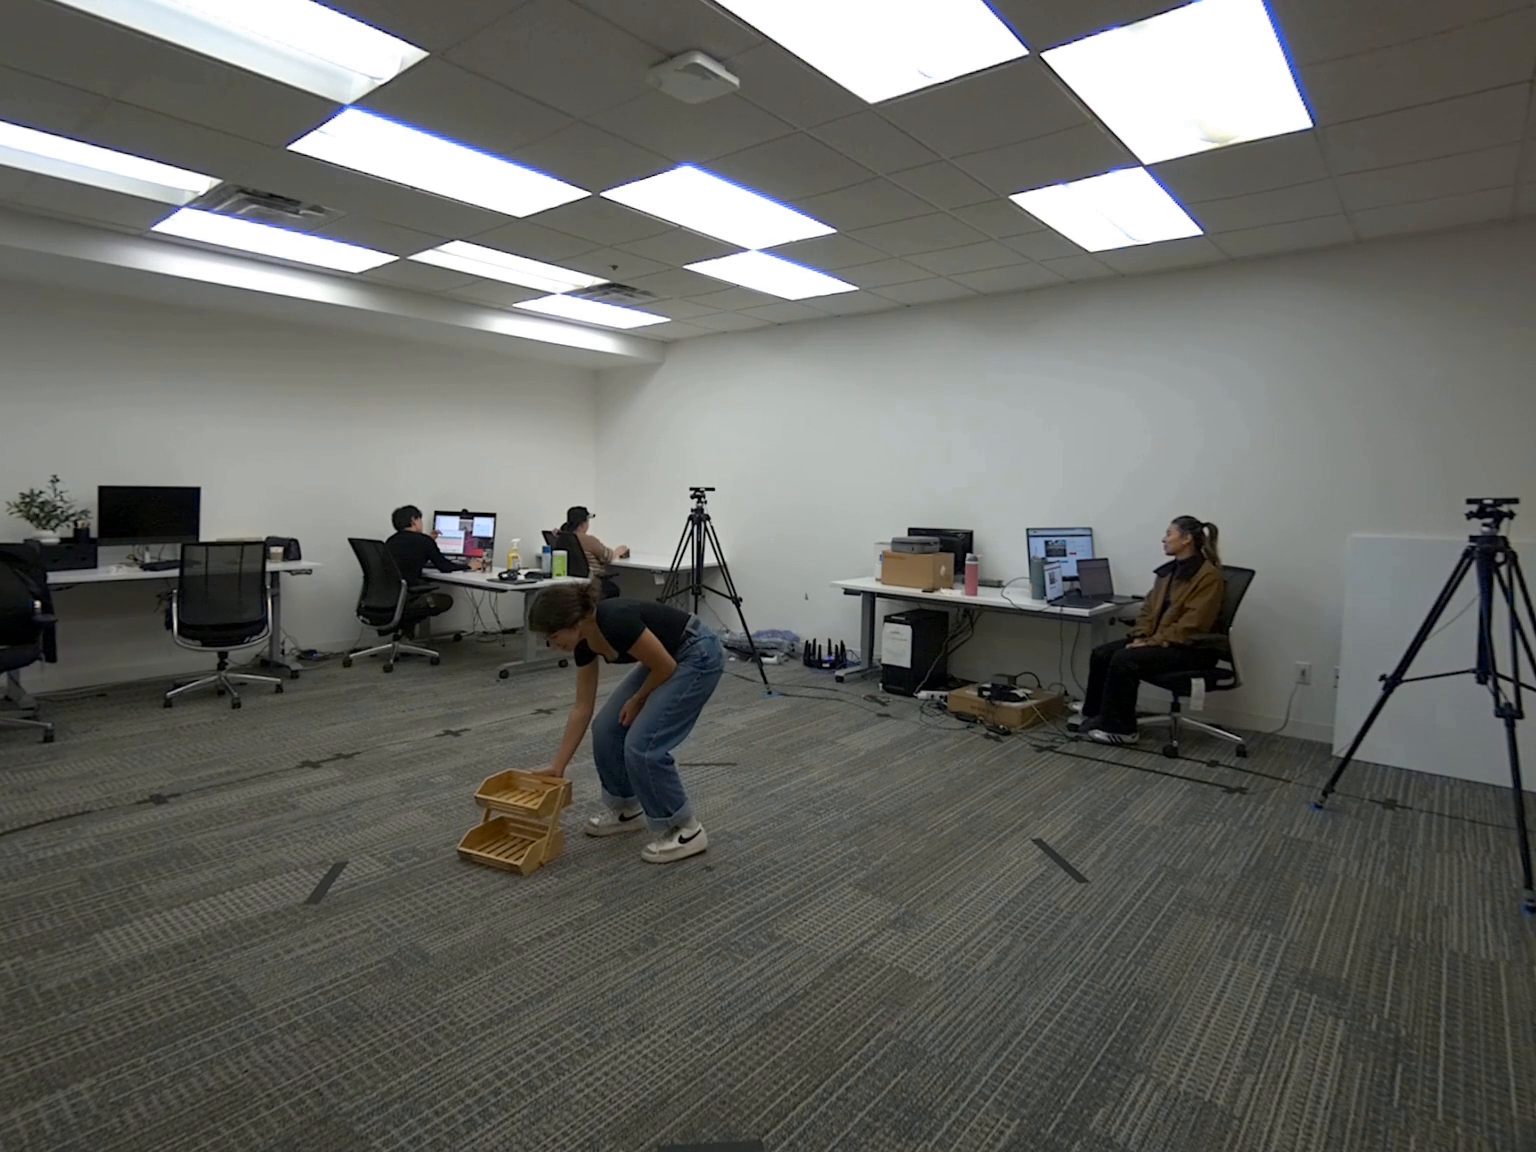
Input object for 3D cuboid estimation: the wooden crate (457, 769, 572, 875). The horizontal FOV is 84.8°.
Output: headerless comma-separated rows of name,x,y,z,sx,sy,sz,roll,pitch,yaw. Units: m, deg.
wooden crate,-0.966,0.915,3.193,0.332,0.273,0.295,3,3,23
